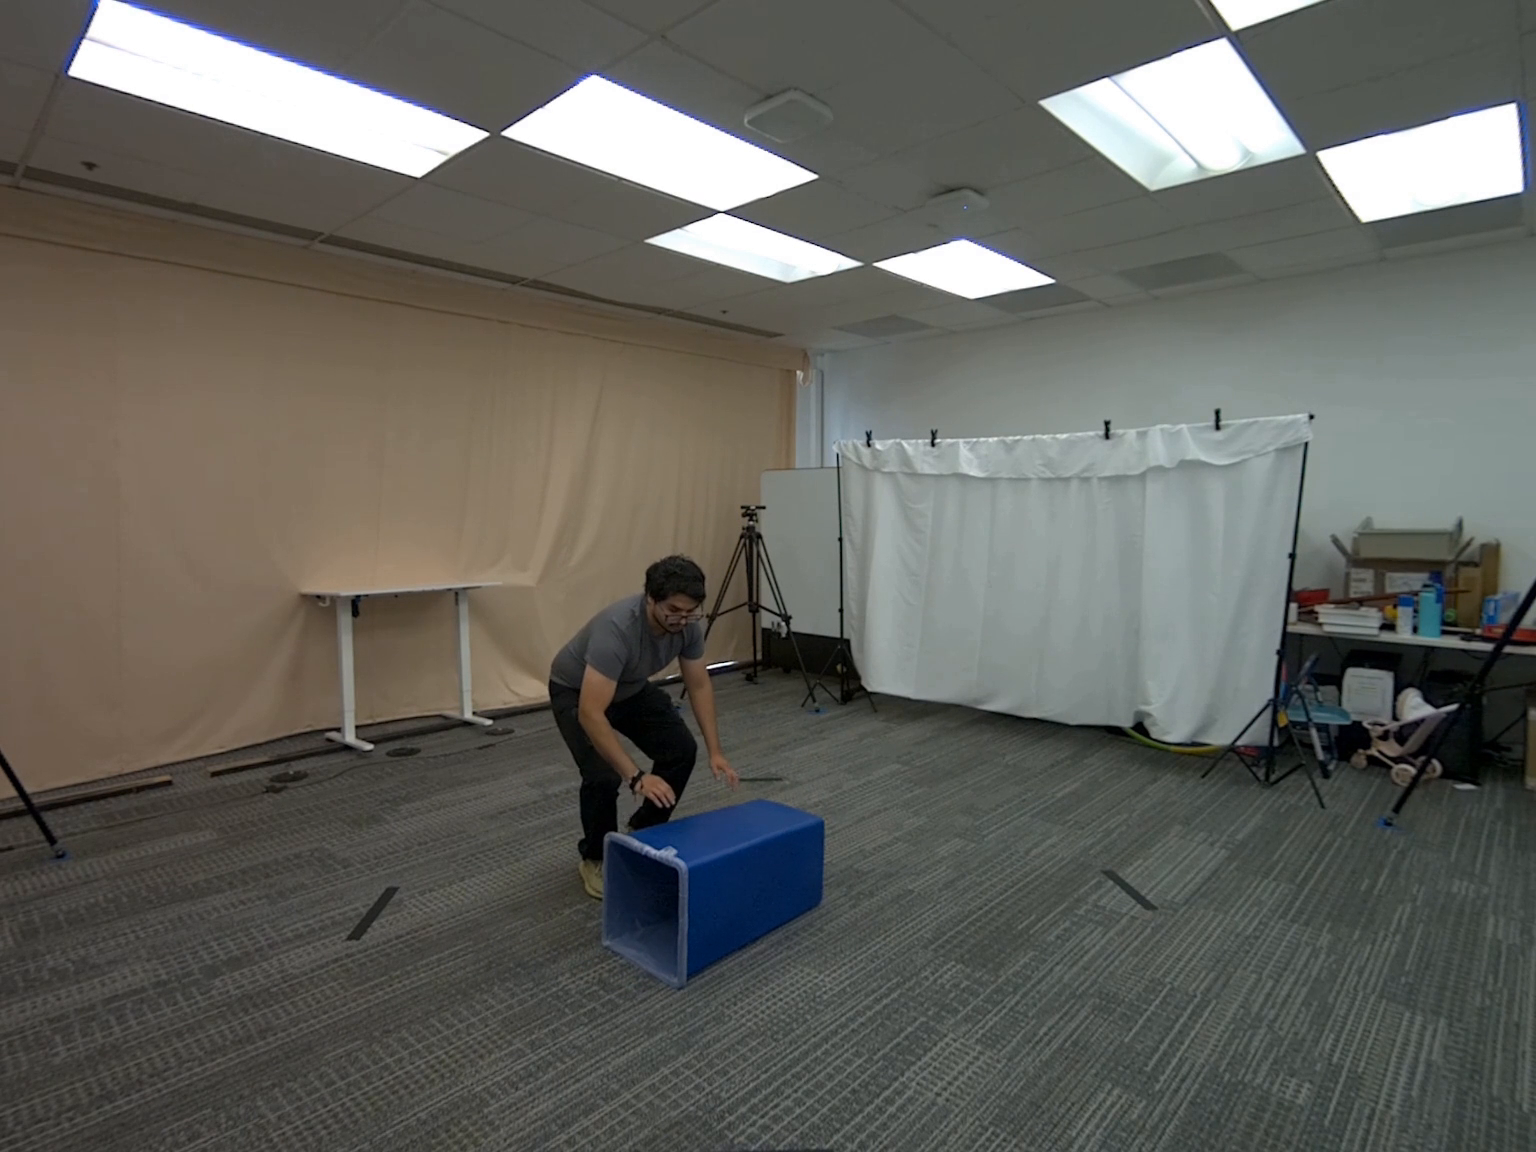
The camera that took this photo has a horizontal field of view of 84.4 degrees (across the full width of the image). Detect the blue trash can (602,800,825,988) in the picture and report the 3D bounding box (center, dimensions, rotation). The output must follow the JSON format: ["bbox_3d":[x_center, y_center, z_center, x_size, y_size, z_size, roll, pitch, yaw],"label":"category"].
[{"bbox_3d":[-0.140,0.989,2.781,0.386,0.377,0.691,2,3,43],"label":"blue trash can"}]
